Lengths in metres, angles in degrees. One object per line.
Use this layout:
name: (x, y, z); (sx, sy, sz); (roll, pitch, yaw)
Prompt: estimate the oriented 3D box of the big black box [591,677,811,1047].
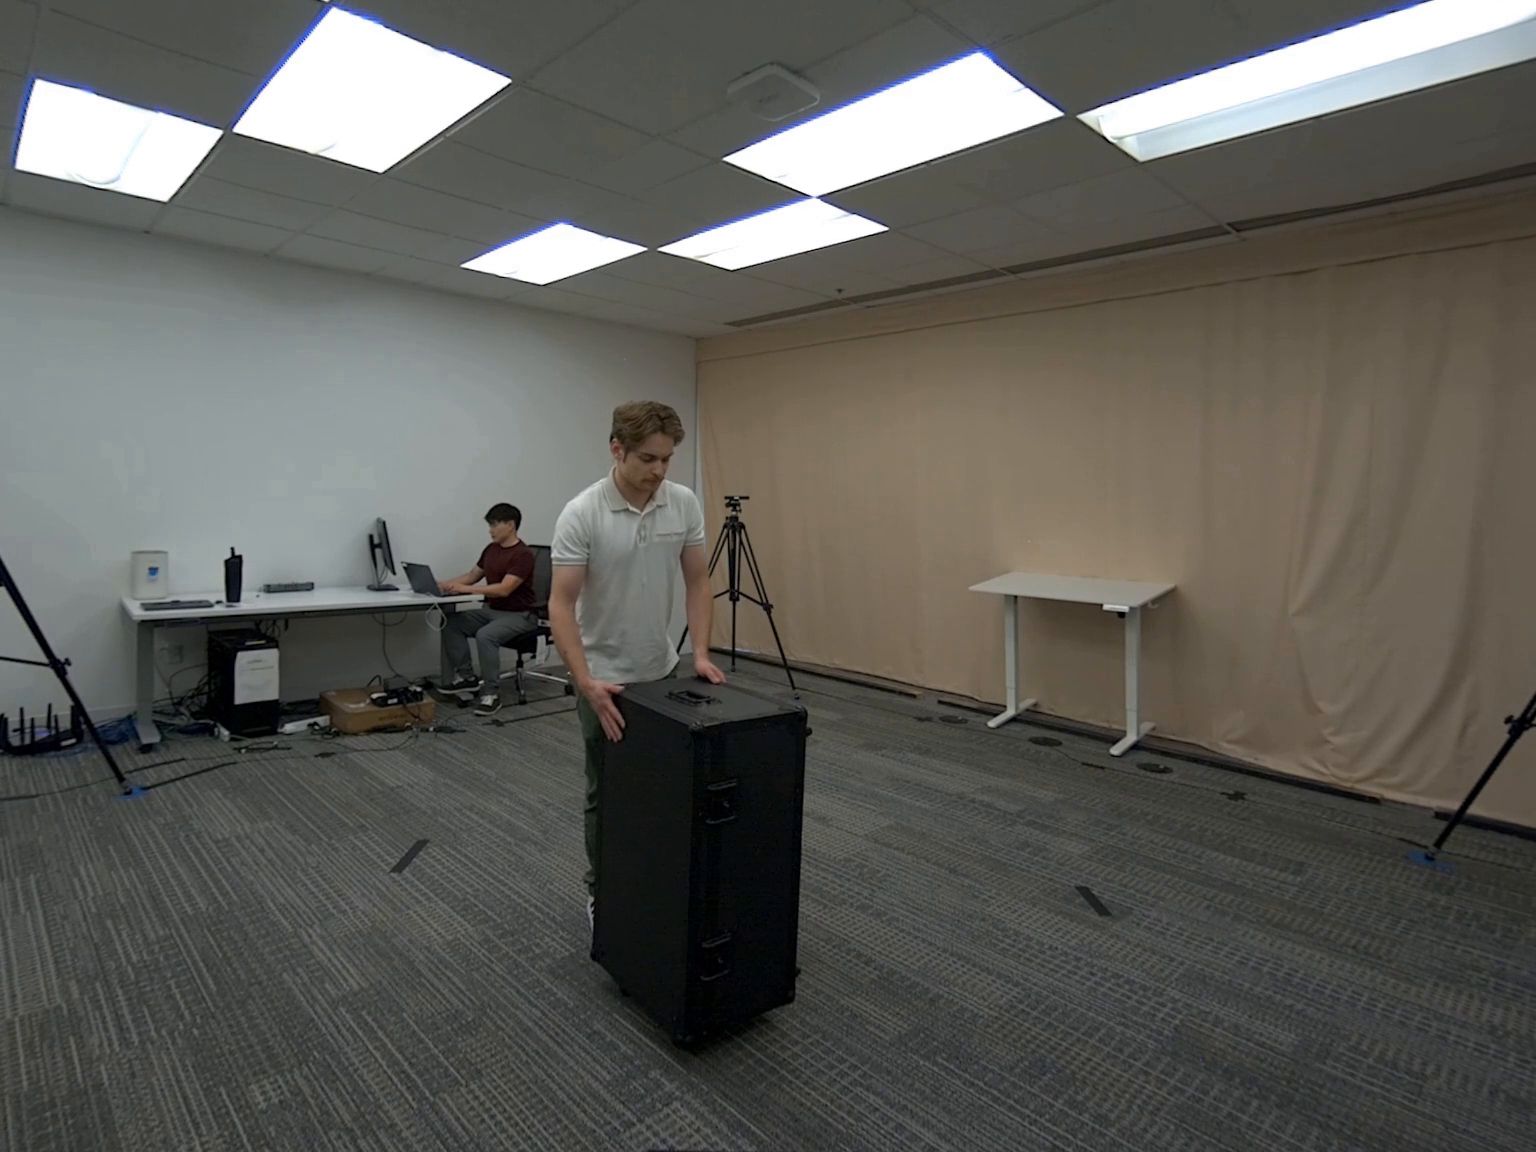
big black box: (-0.203, 0.760, 2.291); (0.376, 0.867, 0.537); (0, 4, -38)
